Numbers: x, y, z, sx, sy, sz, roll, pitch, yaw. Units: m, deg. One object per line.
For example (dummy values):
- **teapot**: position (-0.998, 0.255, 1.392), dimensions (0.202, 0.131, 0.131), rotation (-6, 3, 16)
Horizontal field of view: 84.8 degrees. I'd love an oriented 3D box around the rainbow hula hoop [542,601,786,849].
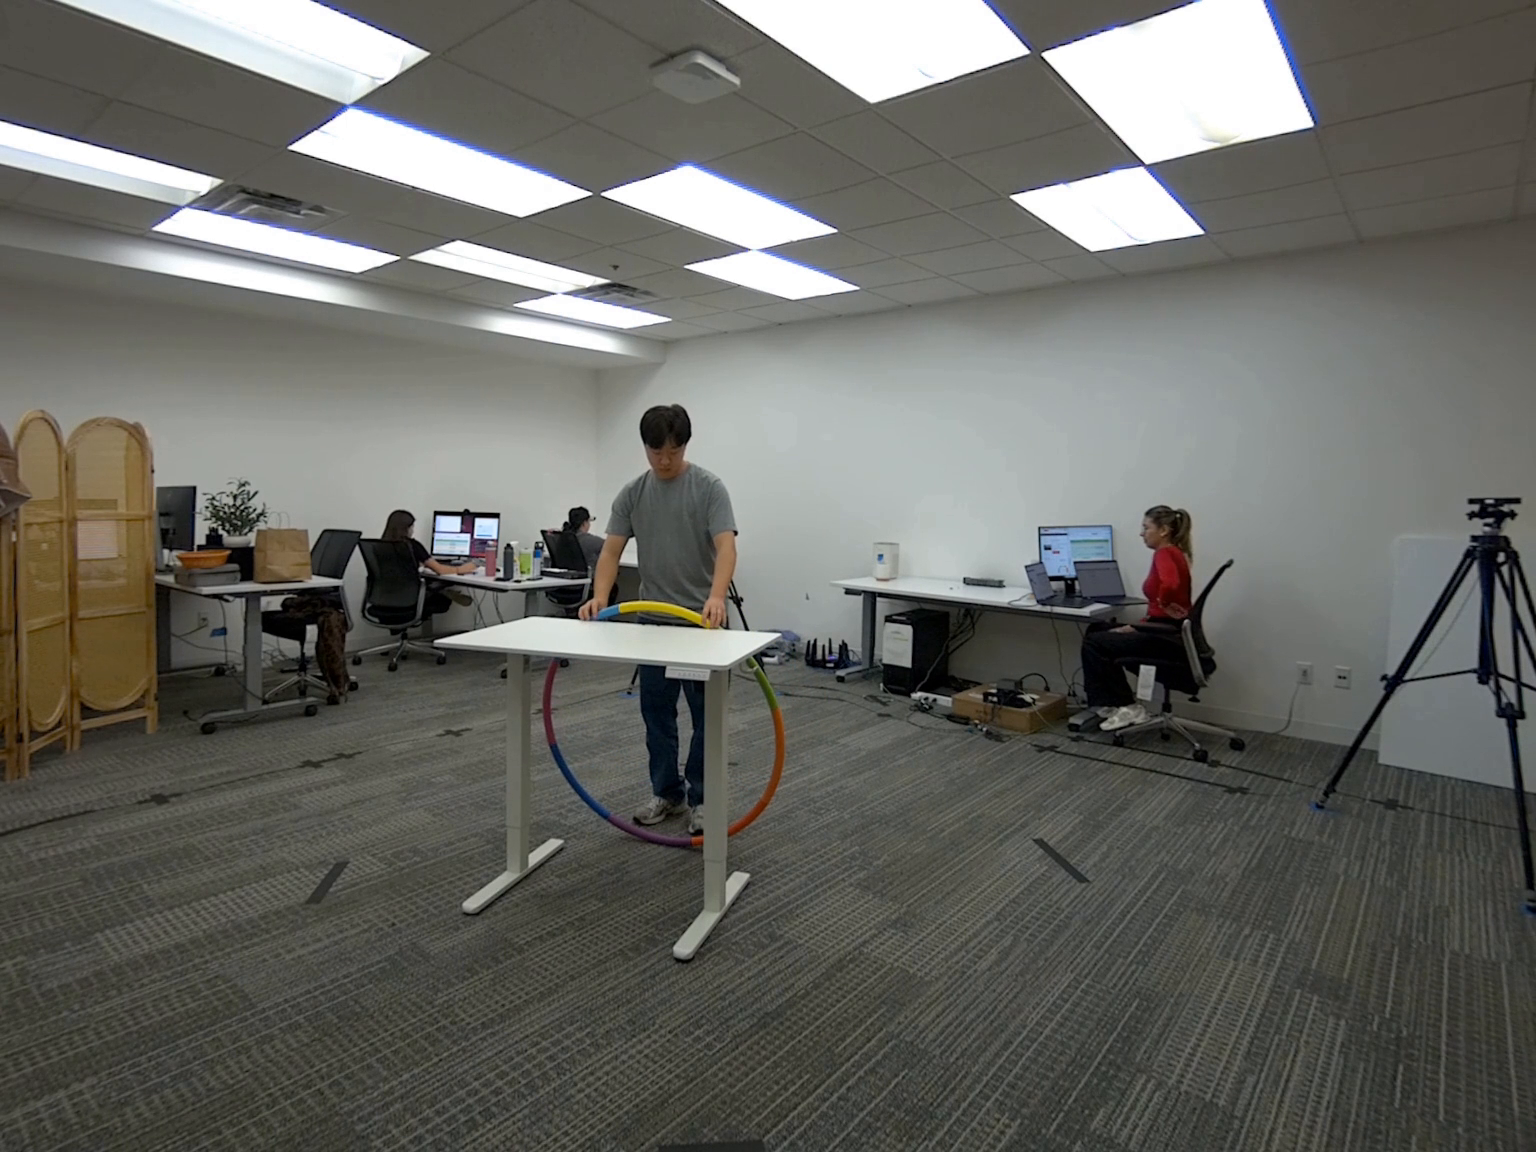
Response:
- **rainbow hula hoop**: position (-0.425, 0.569, 3.218), dimensions (0.998, 0.967, 0.035), rotation (3, 13, 18)
